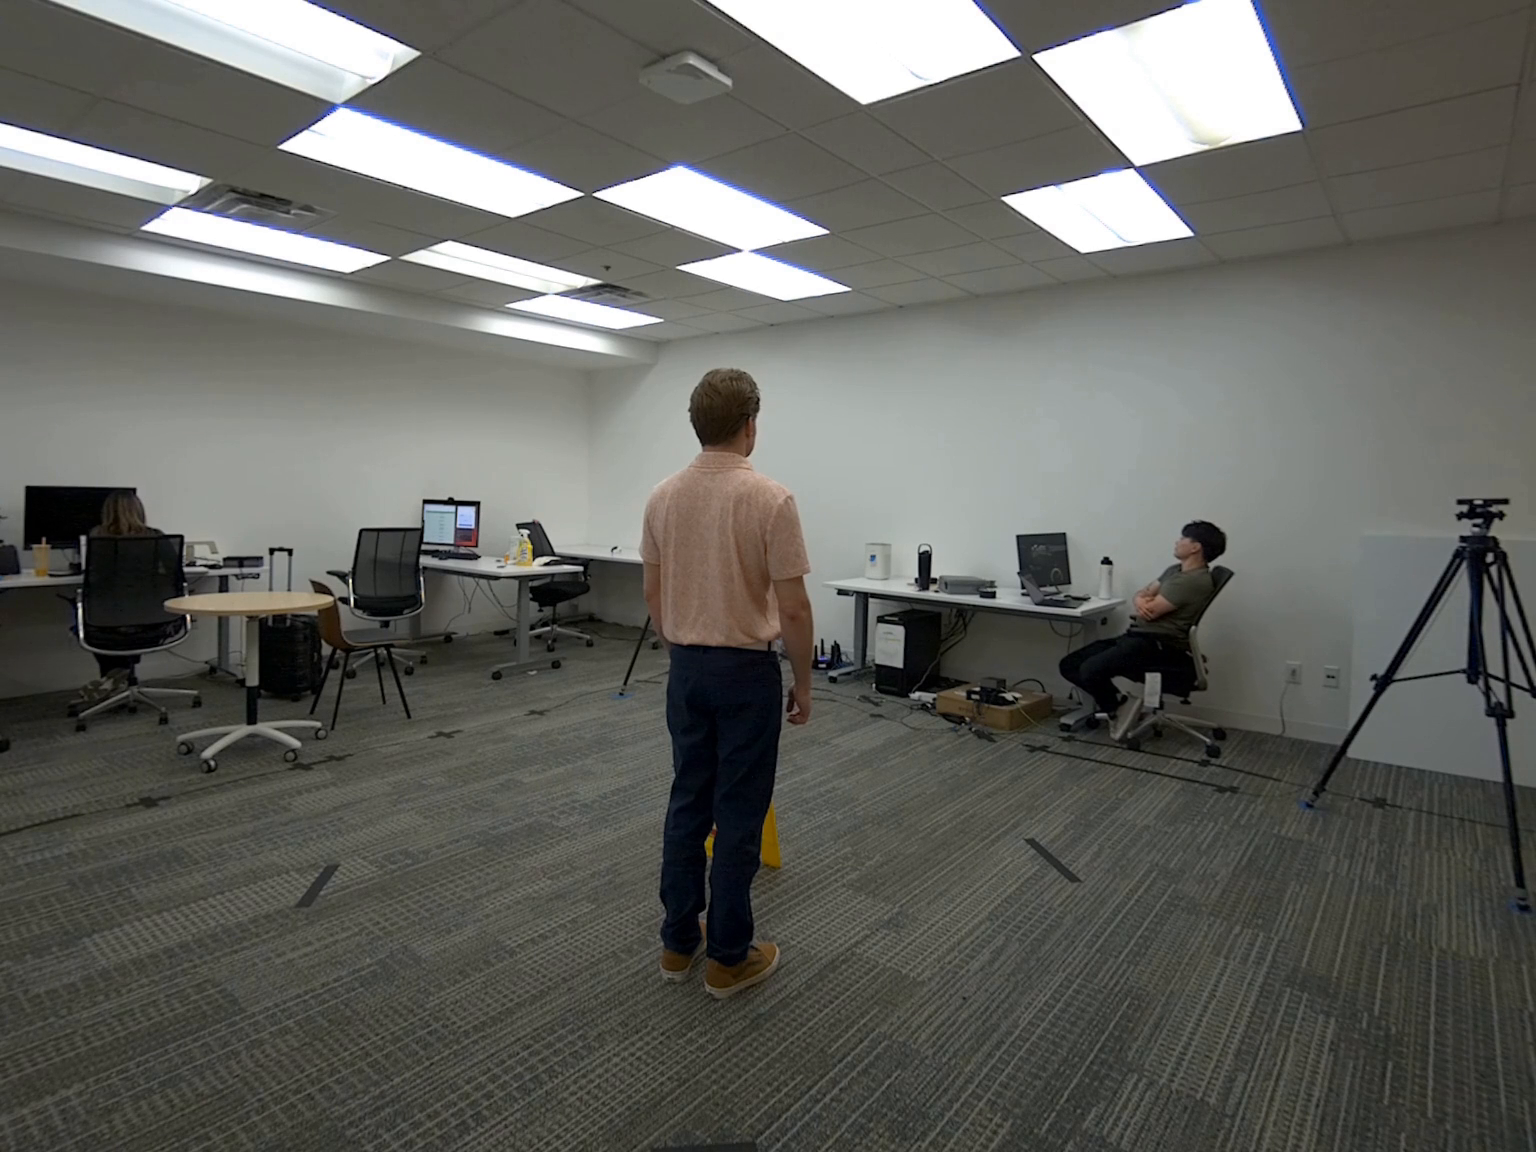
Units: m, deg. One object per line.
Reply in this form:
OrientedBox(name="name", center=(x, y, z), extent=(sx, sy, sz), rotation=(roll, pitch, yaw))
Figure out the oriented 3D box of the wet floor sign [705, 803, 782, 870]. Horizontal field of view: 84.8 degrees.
OrientedBox(name="wet floor sign", center=(-0.135, 0.739, 3.106), extent=(0.291, 0.645, 0.281), rotation=(4, 3, 36))
